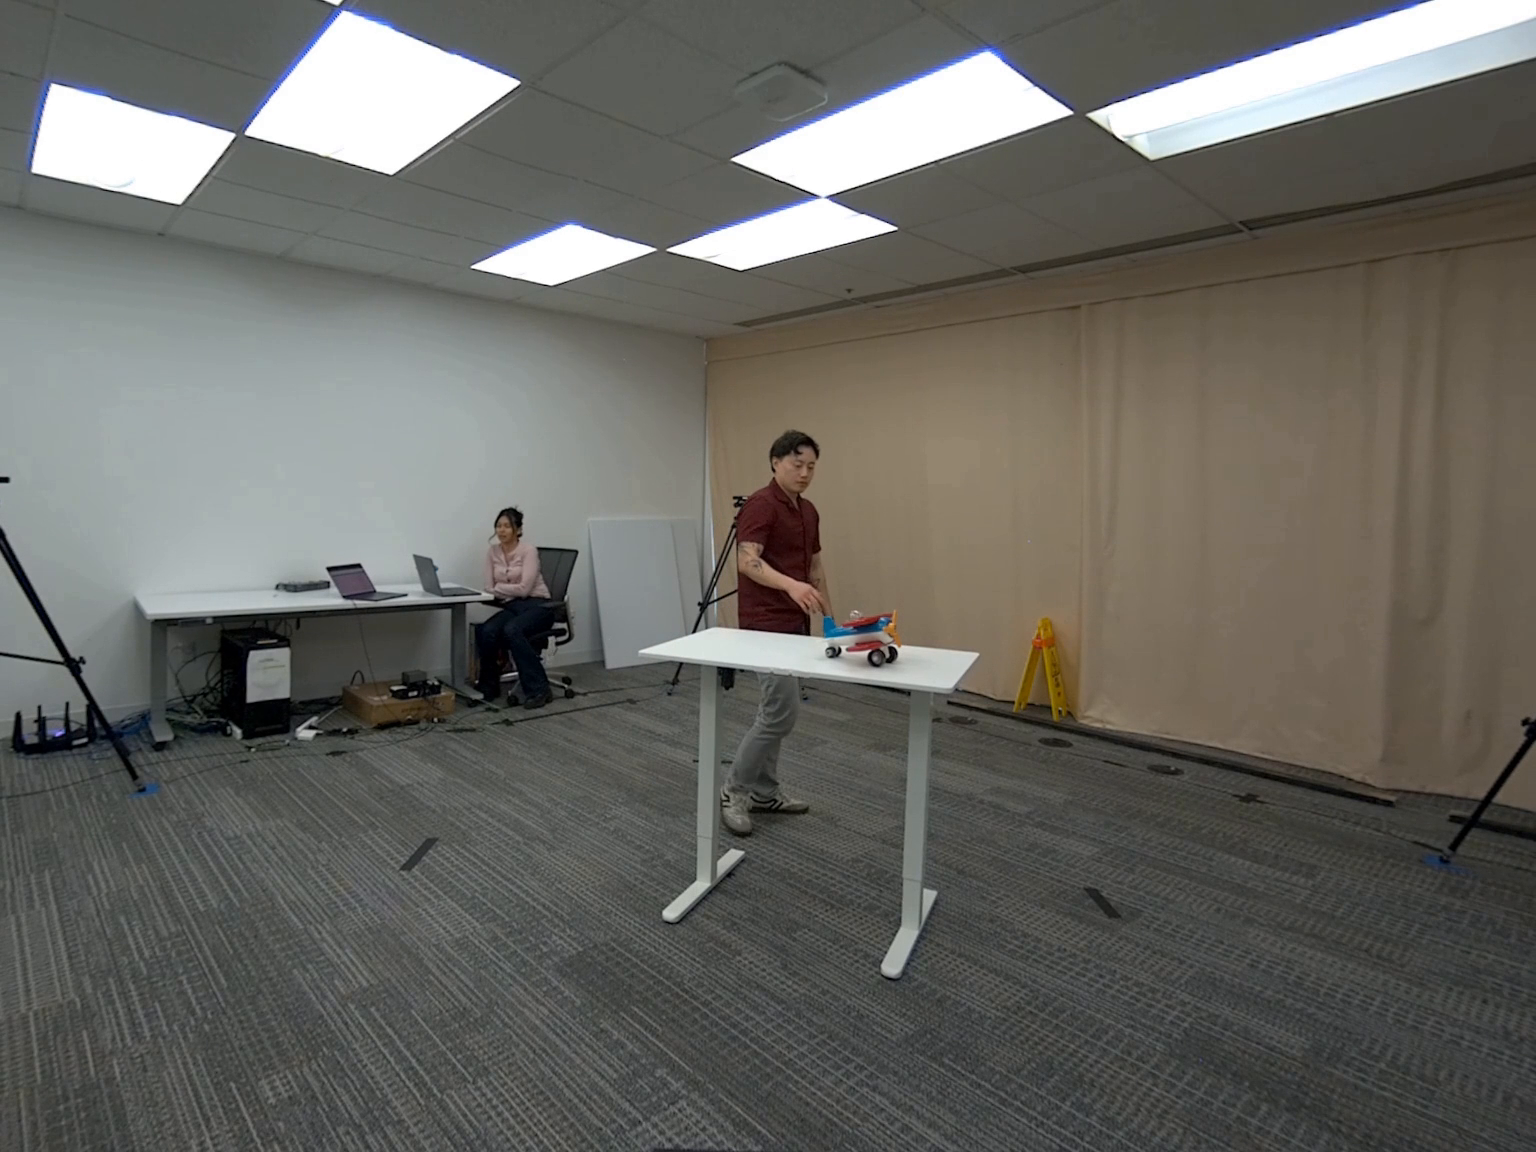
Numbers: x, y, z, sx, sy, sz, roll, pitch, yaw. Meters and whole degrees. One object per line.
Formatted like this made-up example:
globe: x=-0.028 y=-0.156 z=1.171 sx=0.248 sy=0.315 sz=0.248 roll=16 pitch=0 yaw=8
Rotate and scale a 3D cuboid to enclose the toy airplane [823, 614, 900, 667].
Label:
toy airplane: x=0.277 y=0.199 z=2.663 sx=0.261 sy=0.156 sz=0.250 roll=2 pitch=6 yaw=7
